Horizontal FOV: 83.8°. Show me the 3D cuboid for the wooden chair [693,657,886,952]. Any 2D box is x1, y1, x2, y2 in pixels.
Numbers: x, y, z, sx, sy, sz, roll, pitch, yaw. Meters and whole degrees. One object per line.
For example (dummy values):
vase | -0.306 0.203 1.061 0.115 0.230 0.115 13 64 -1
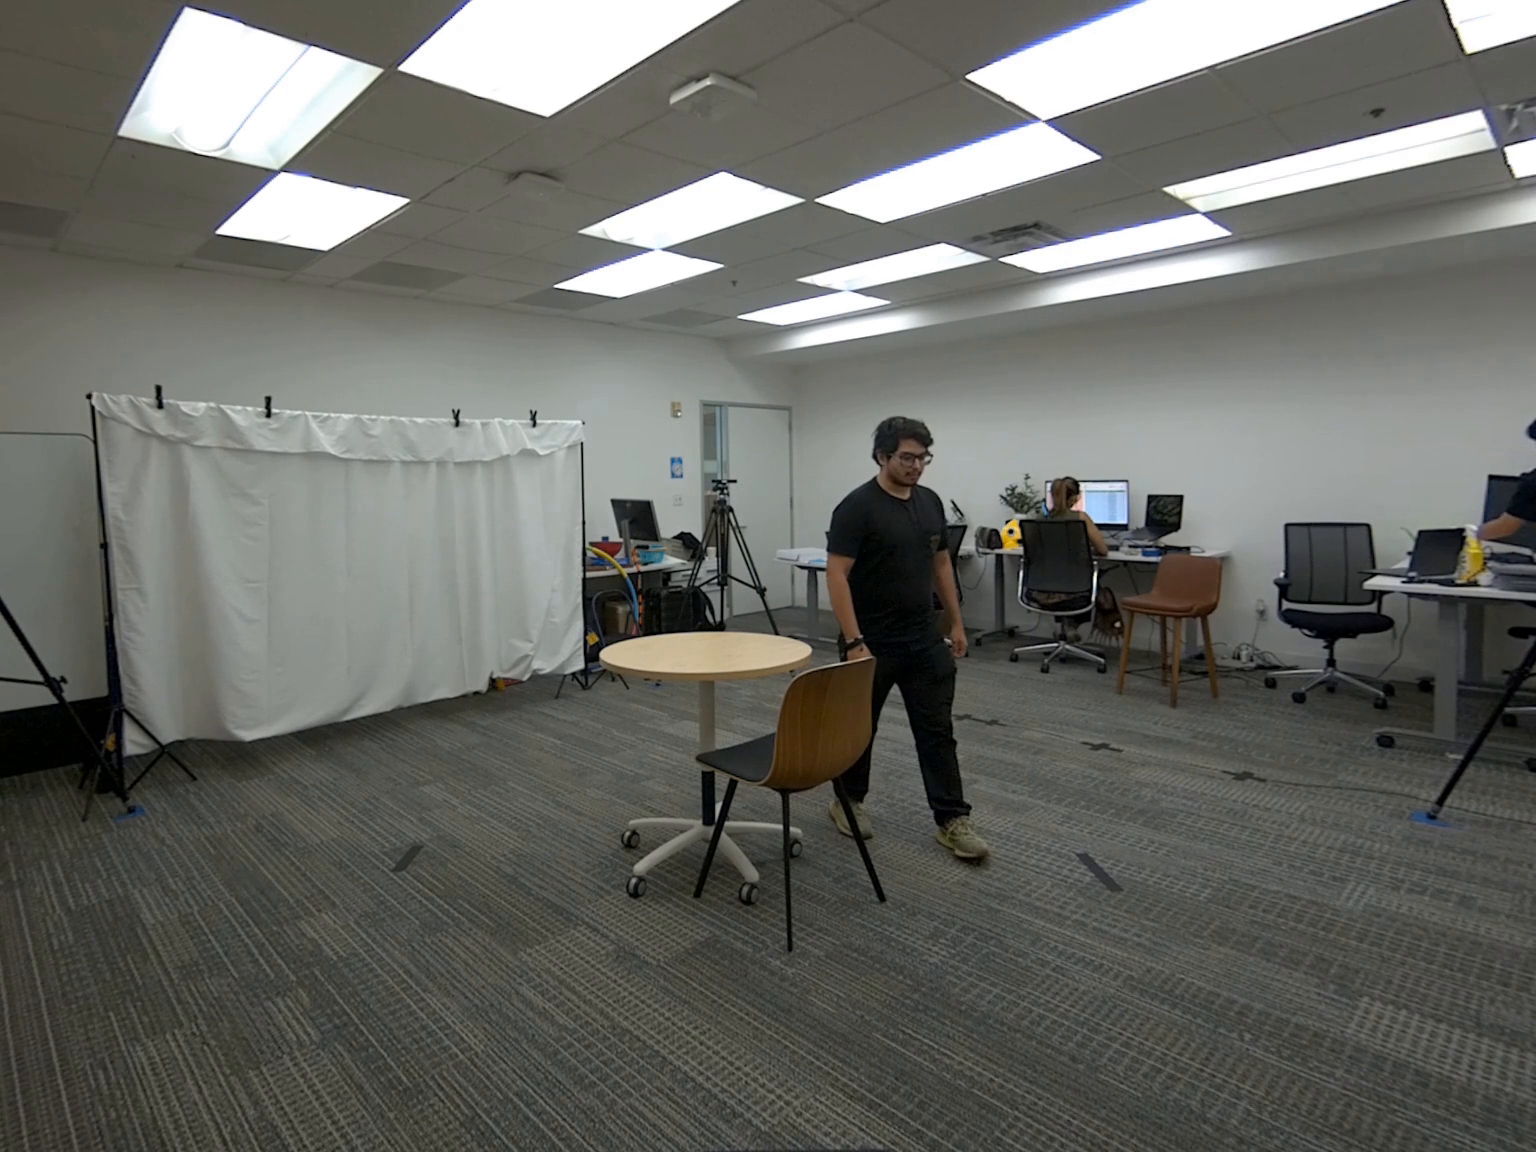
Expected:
wooden chair | 0.058 0.645 2.821 0.466 0.871 0.541 -6 11 -41
